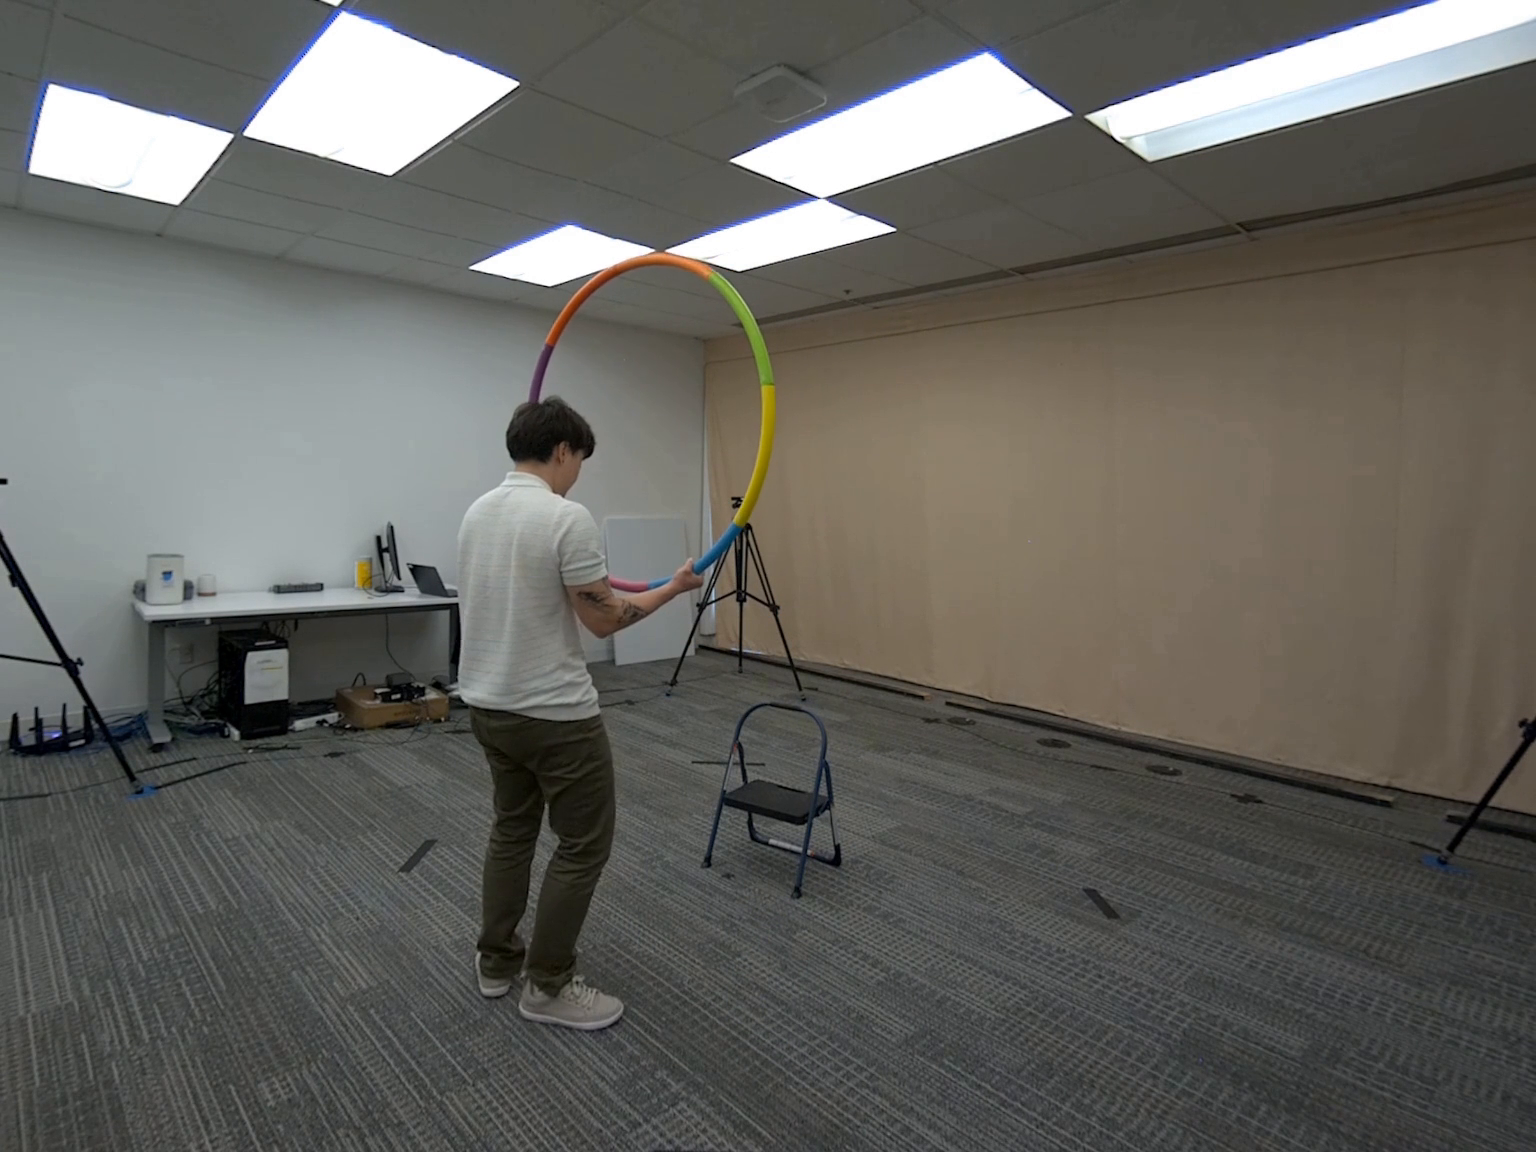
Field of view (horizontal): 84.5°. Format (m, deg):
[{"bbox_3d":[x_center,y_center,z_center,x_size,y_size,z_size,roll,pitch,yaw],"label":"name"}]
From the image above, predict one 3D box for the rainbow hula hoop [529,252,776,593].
[{"bbox_3d":[-0.396,-0.438,2.456,1.003,0.977,0.035,5,2,37],"label":"rainbow hula hoop"}]
